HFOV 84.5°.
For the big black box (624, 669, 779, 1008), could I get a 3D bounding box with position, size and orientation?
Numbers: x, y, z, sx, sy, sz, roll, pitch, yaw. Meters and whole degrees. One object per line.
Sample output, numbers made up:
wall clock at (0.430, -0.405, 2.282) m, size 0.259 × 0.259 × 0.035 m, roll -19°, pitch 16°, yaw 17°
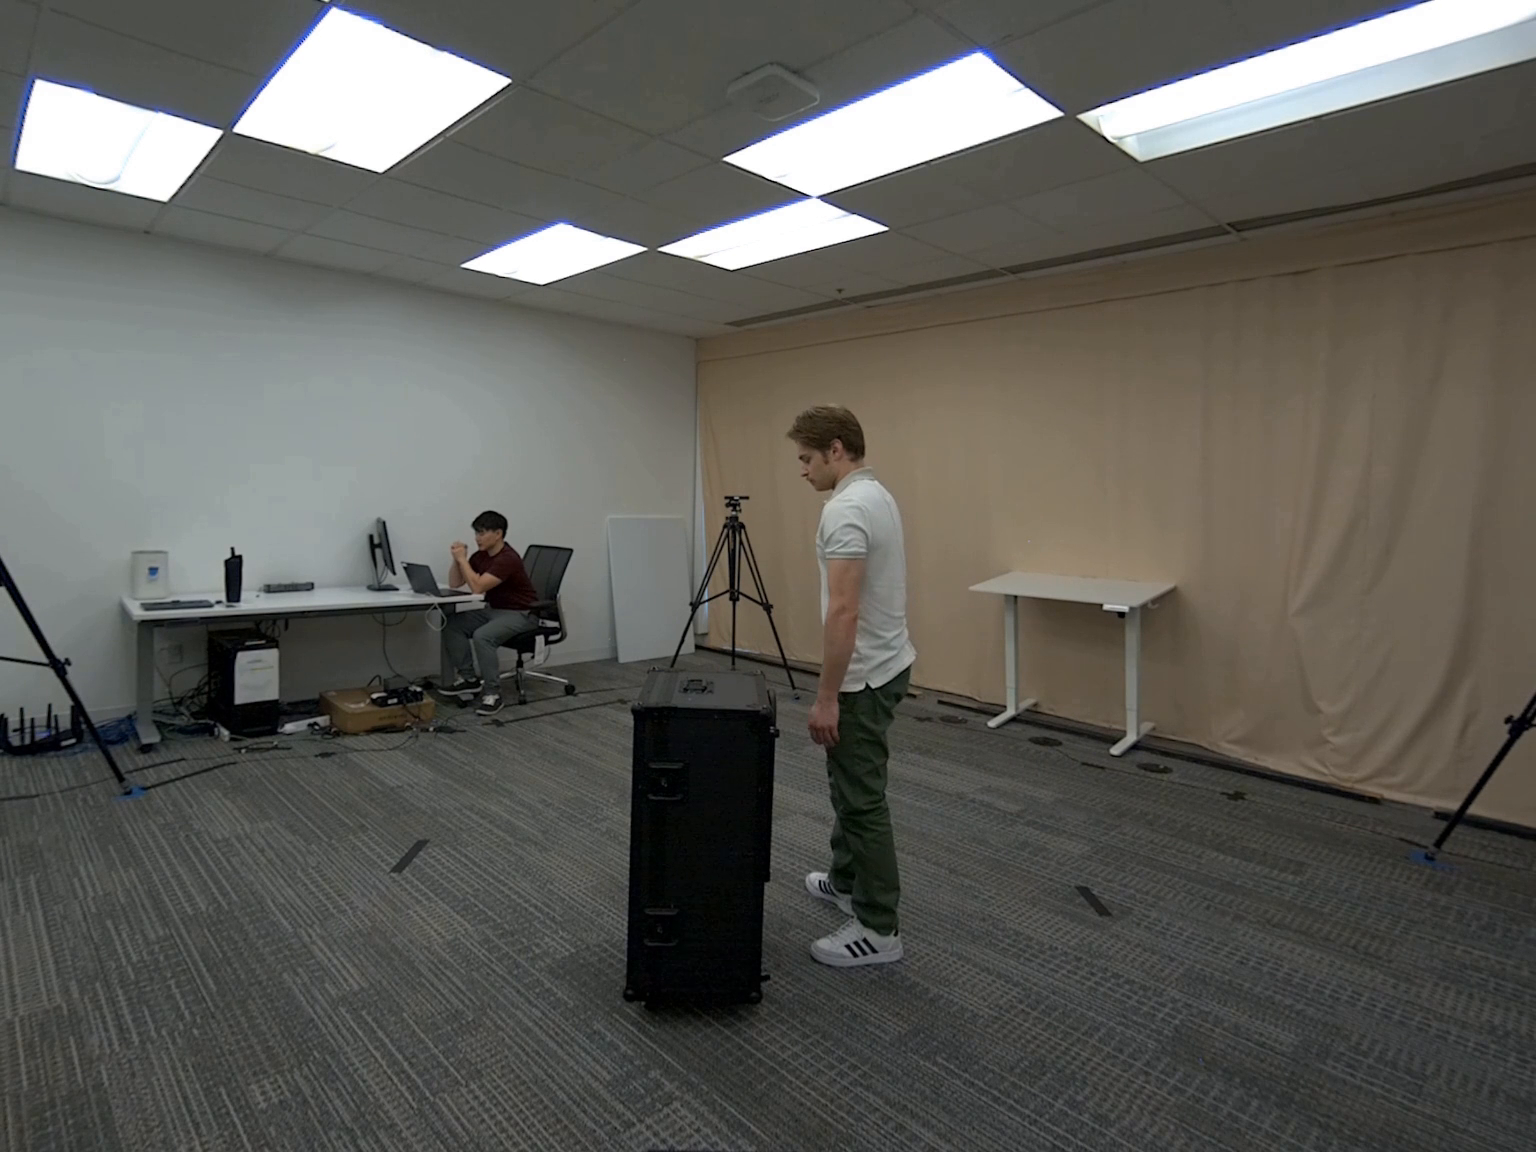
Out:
big black box at (-0.190, 0.742, 2.413) m, size 0.396 × 0.860 × 0.522 m, roll 2°, pitch 2°, yaw -2°
